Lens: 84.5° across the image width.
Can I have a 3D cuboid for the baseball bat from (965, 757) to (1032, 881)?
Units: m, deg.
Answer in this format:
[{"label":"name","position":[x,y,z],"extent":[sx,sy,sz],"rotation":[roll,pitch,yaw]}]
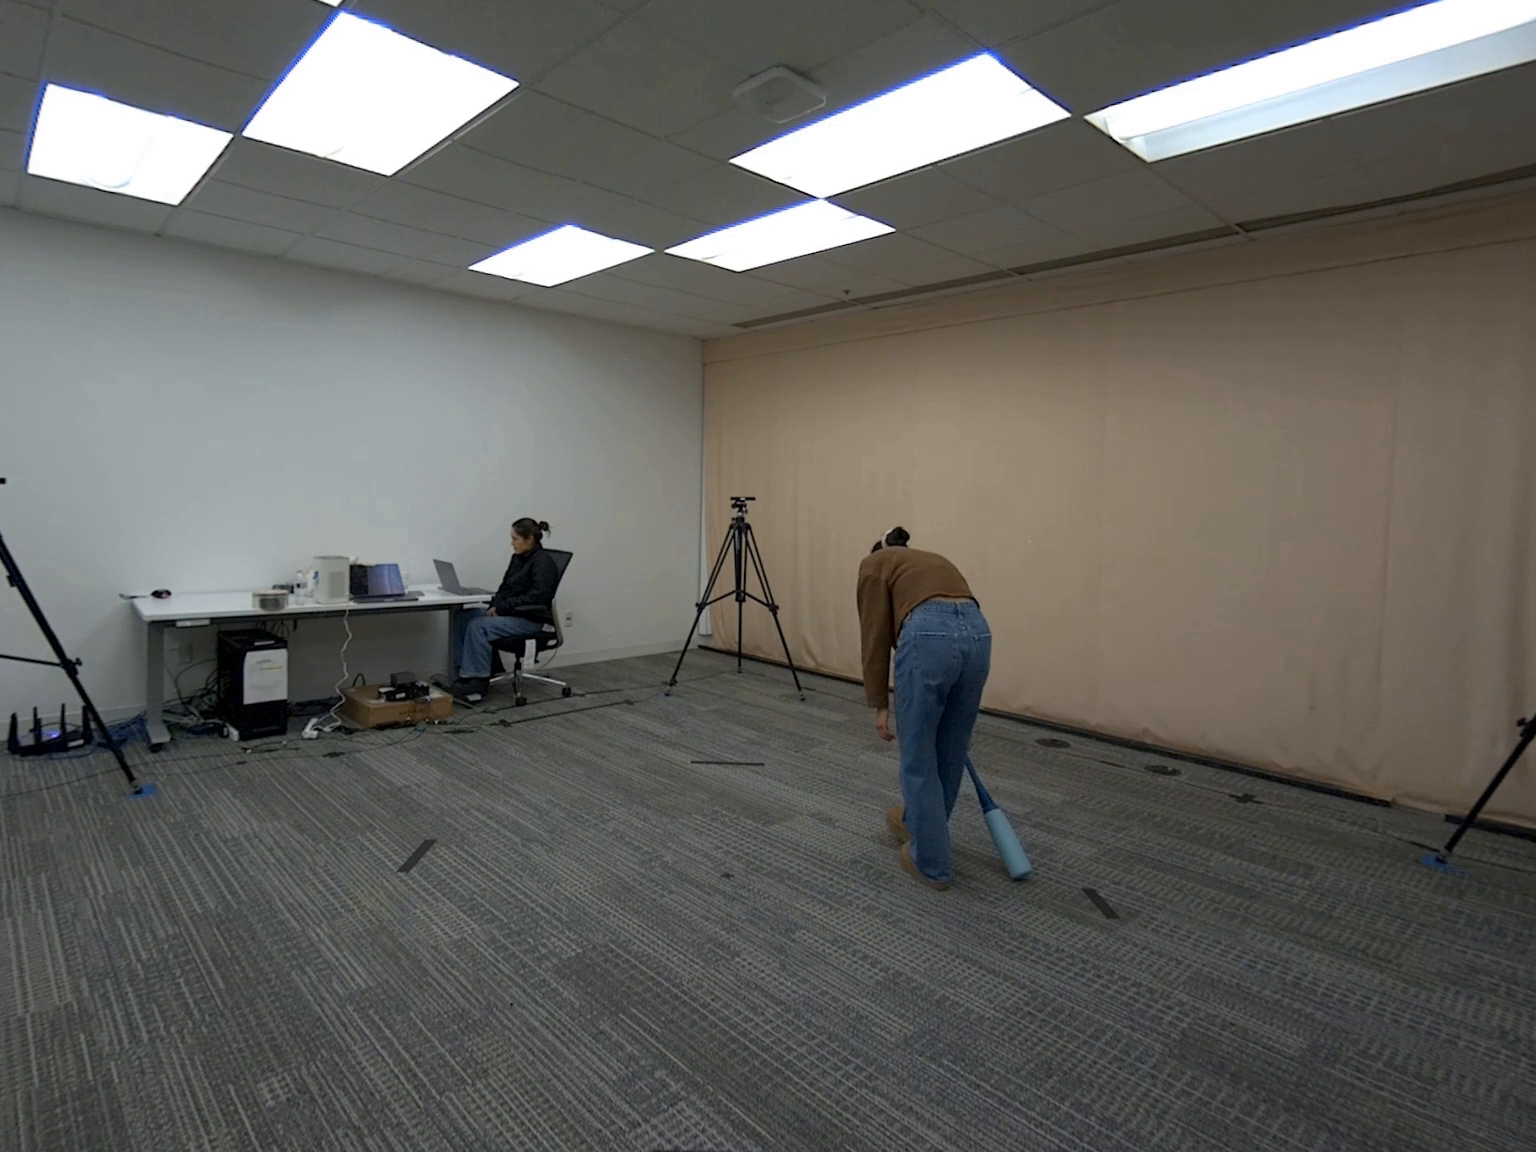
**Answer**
[{"label":"baseball bat","position":[0.848,0.901,3.281],"extent":[0.088,0.558,0.087],"rotation":[-14,-36,-12]}]
